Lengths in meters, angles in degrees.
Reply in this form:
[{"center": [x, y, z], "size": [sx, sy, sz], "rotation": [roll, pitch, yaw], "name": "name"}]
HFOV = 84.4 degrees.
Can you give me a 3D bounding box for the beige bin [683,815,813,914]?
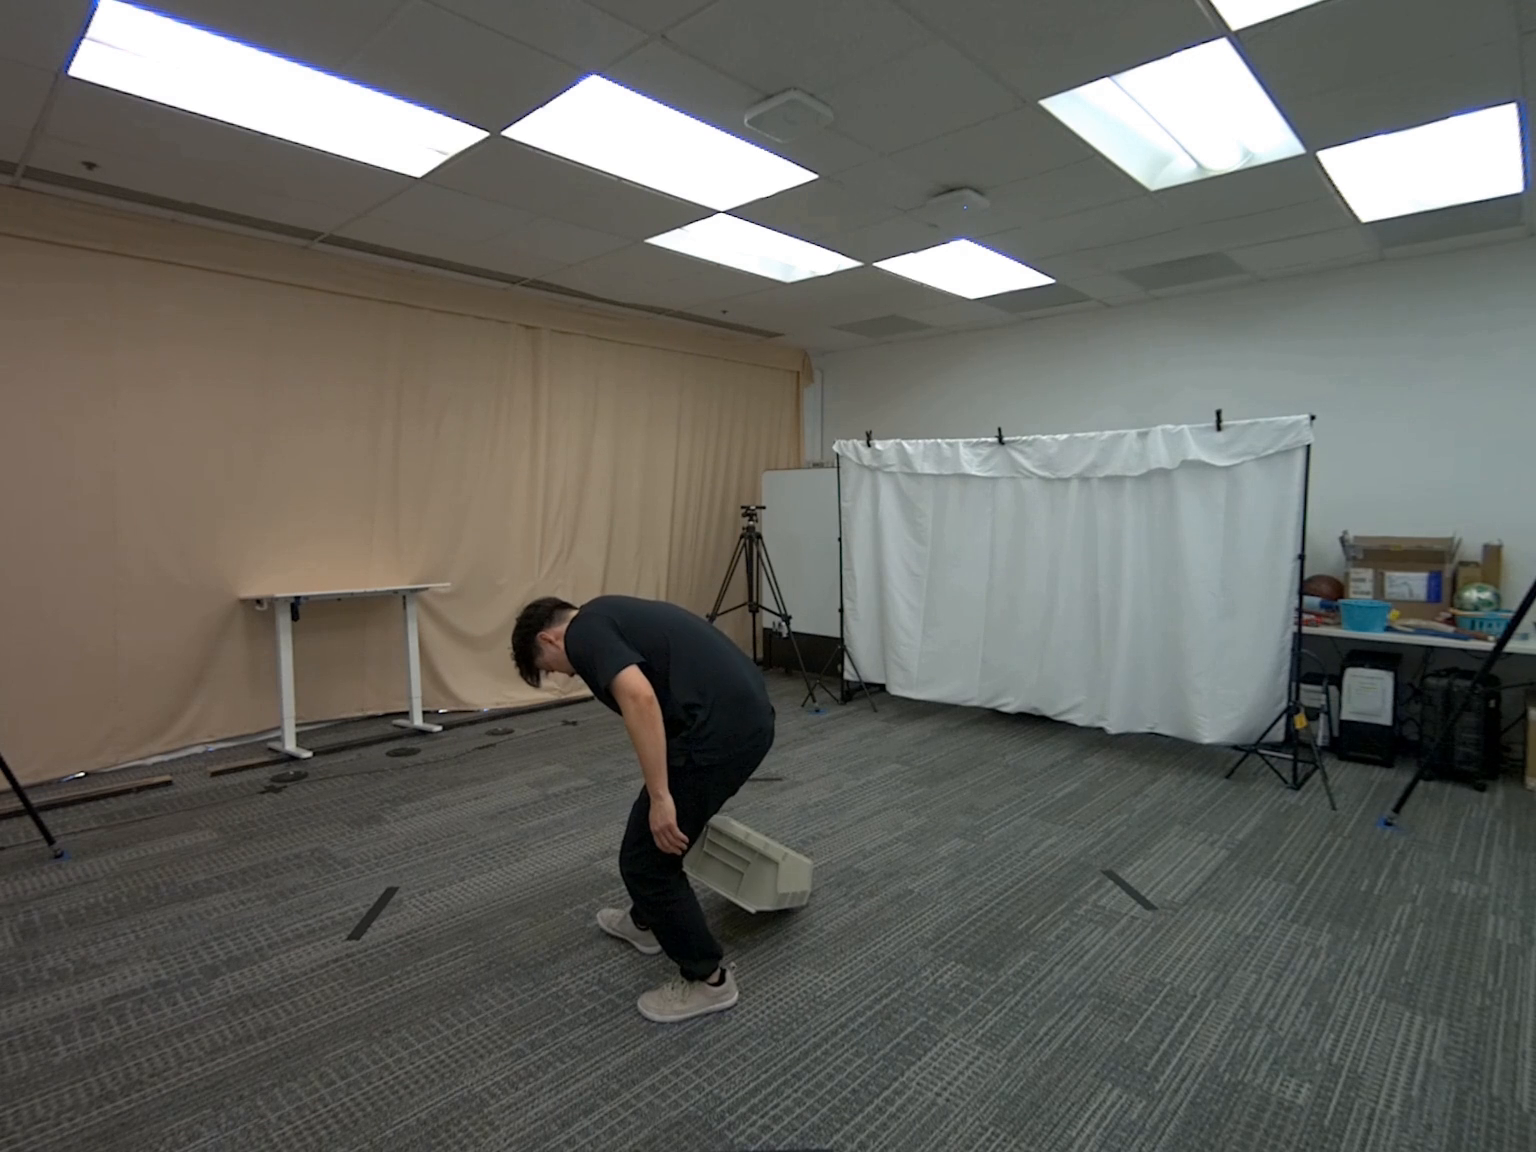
[{"center": [-0.067, 0.965, 2.818], "size": [0.388, 0.189, 0.410], "rotation": [18, -12, 23], "name": "beige bin"}]
